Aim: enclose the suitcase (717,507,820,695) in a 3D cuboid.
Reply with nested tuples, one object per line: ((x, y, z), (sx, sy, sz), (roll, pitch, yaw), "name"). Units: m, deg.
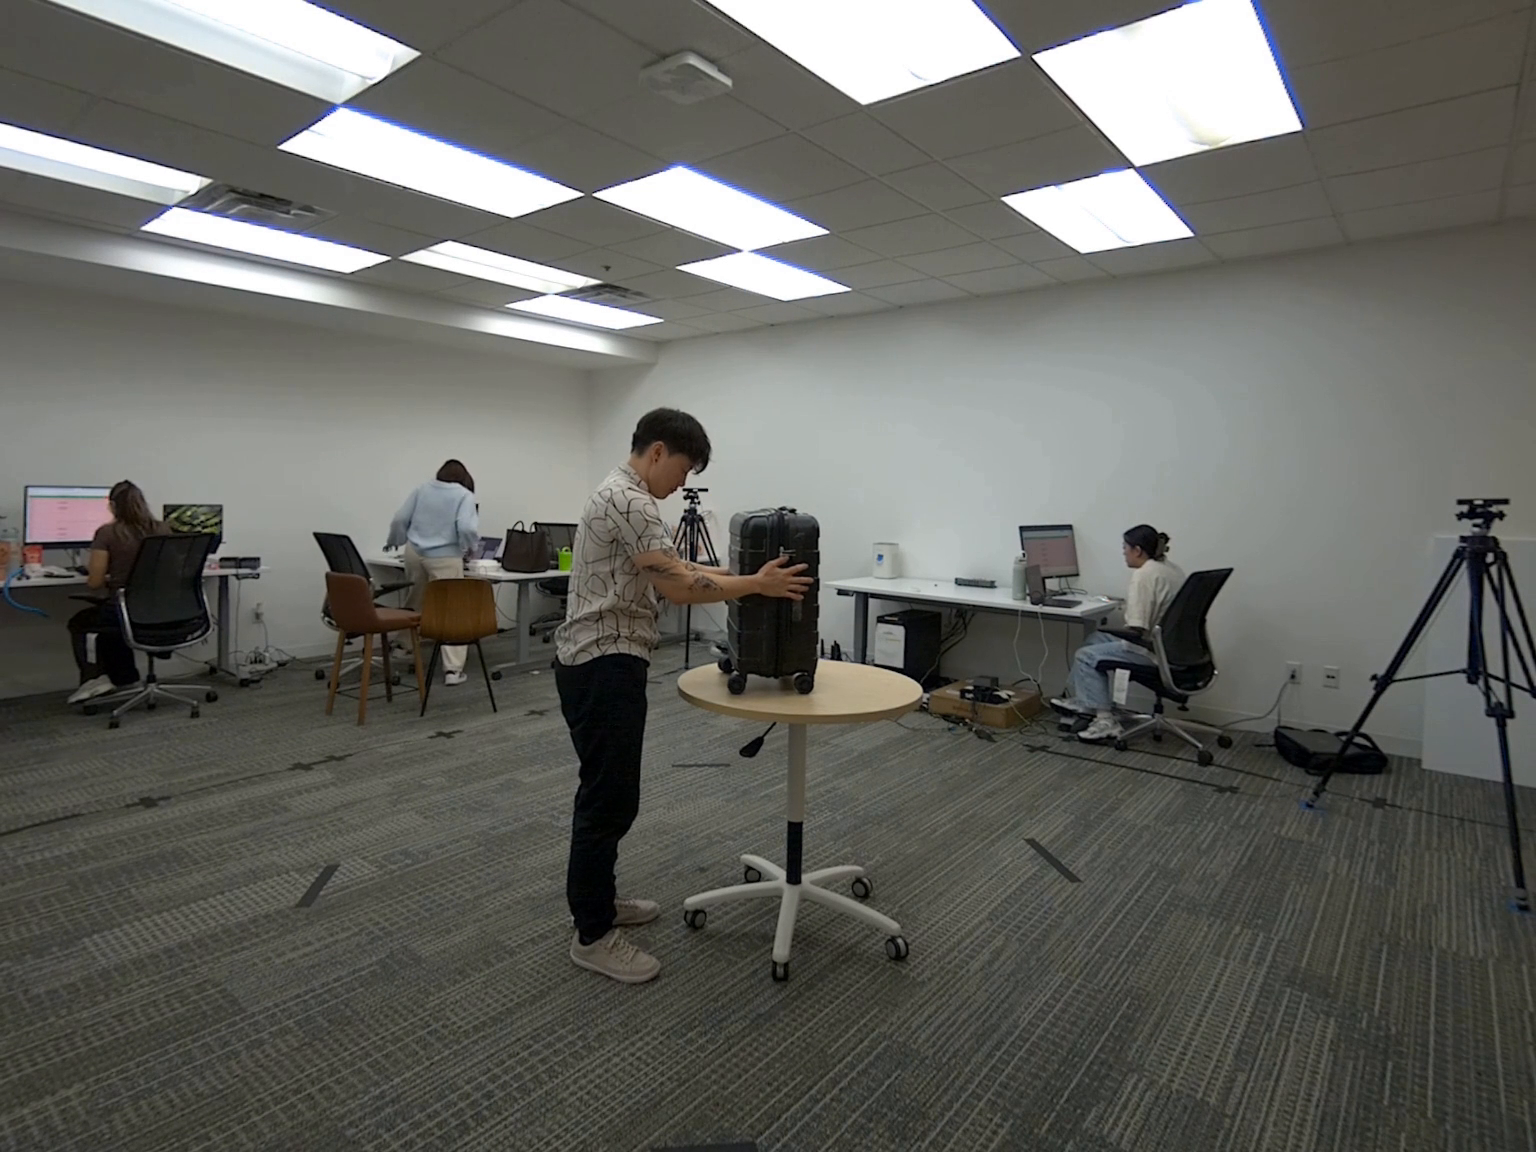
((-0.001, 0.059, 2.661), (0.247, 0.547, 0.379), (2, 5, -7), "suitcase")
